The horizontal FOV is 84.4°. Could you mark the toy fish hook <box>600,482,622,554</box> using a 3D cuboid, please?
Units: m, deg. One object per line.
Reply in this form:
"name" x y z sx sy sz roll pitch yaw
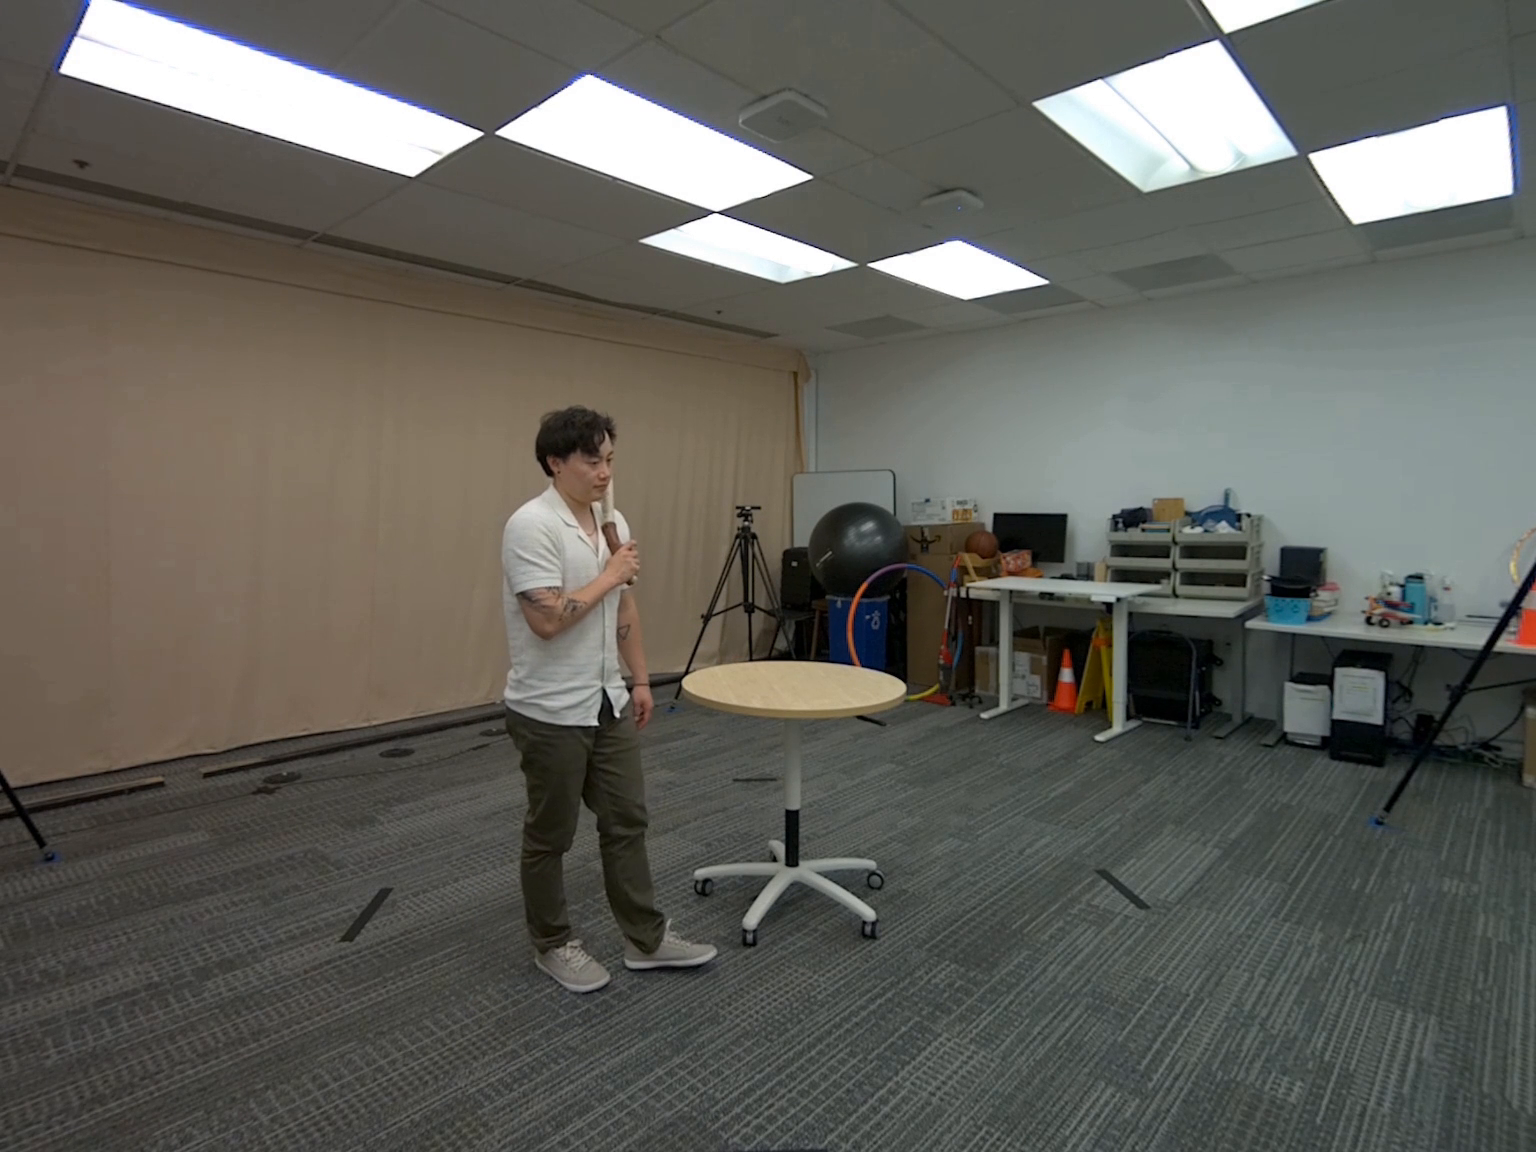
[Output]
"toy fish hook" -0.527 -0.177 2.501 0.227 0.516 0.047 -30 -21 18
